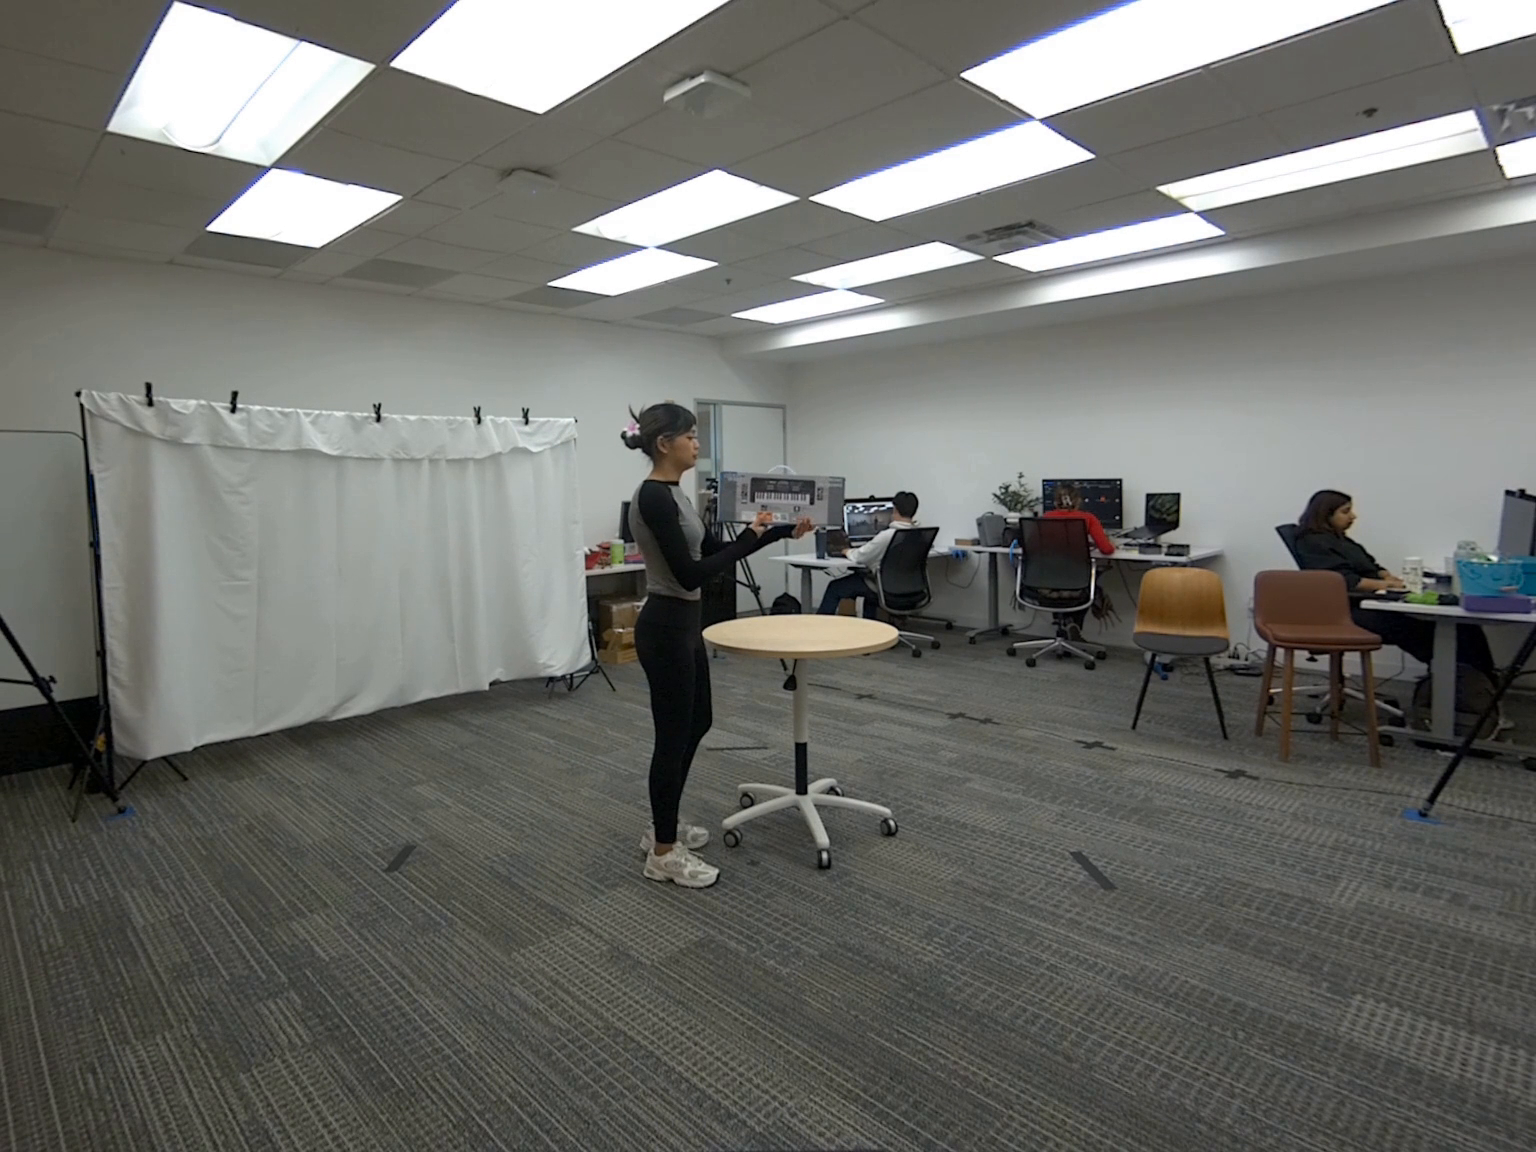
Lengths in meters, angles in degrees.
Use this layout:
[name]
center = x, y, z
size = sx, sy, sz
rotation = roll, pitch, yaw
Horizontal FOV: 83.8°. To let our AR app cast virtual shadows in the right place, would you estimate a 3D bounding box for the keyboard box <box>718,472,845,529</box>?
[keyboard box]
center = 0.048, -0.261, 2.962
size = 0.433, 0.176, 0.059
rotation = 1, 0, -8
